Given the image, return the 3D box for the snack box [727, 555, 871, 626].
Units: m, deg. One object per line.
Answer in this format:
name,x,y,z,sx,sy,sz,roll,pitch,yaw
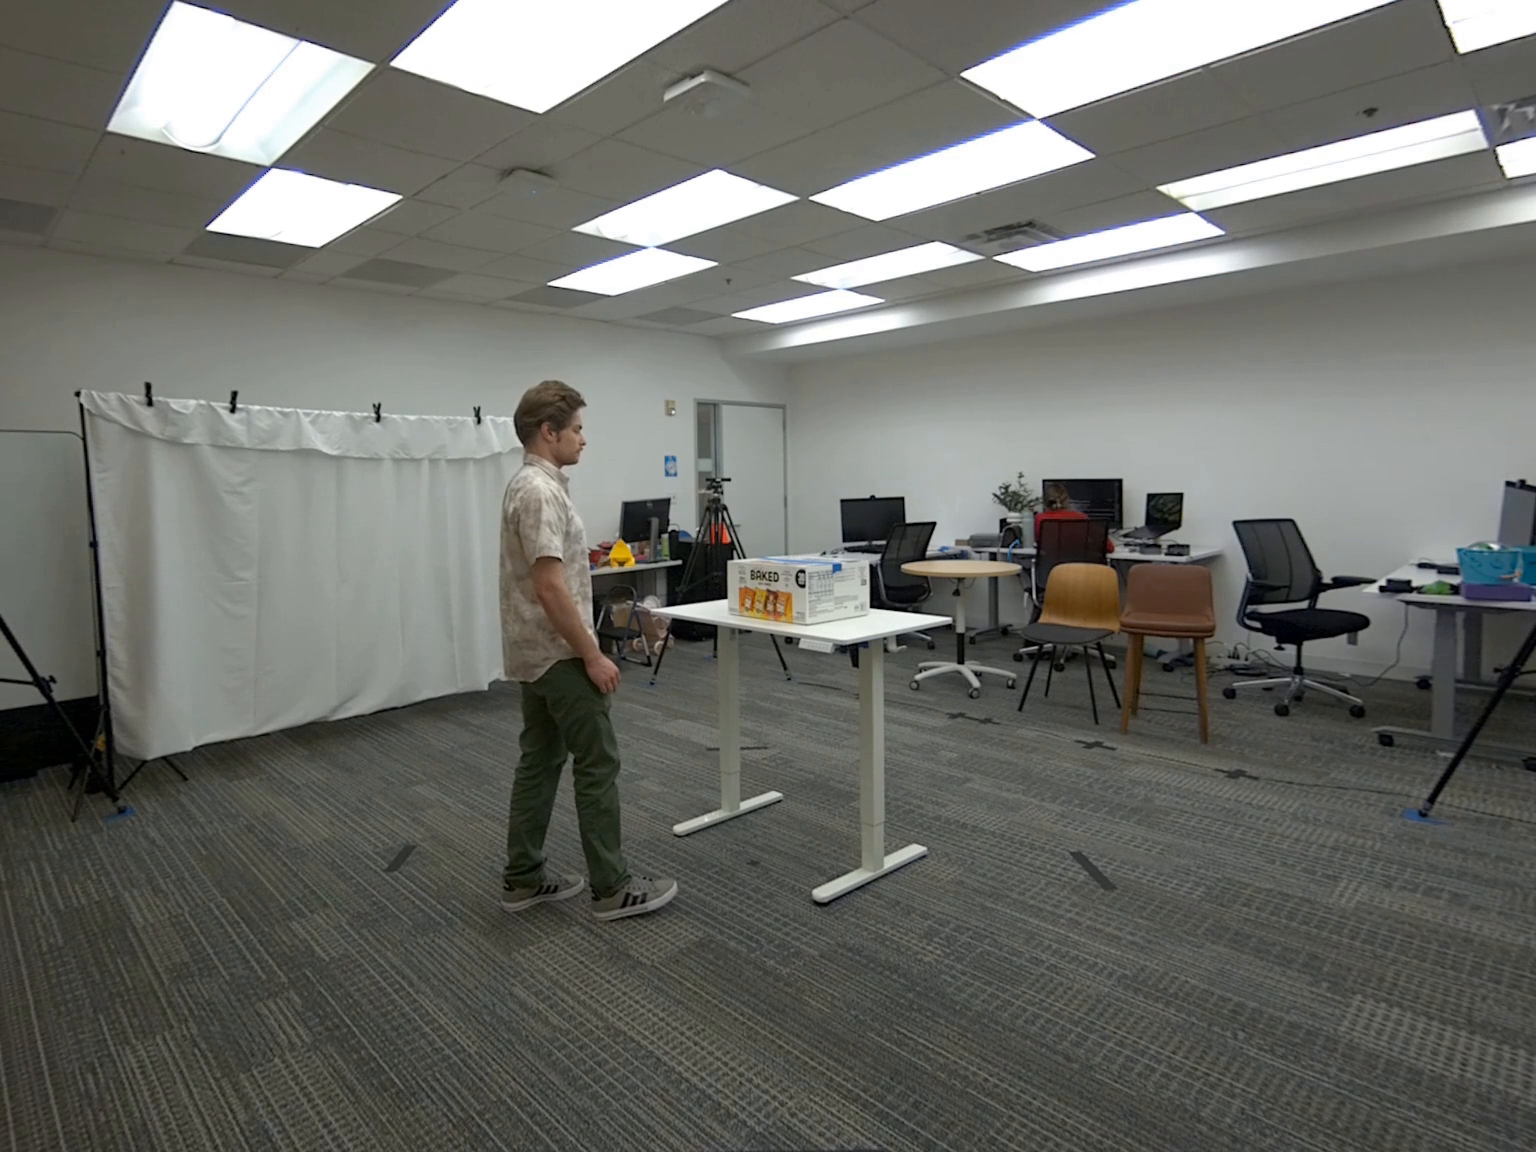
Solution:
snack box,0.113,0.044,3.186,0.331,0.205,0.417,-6,7,-43
